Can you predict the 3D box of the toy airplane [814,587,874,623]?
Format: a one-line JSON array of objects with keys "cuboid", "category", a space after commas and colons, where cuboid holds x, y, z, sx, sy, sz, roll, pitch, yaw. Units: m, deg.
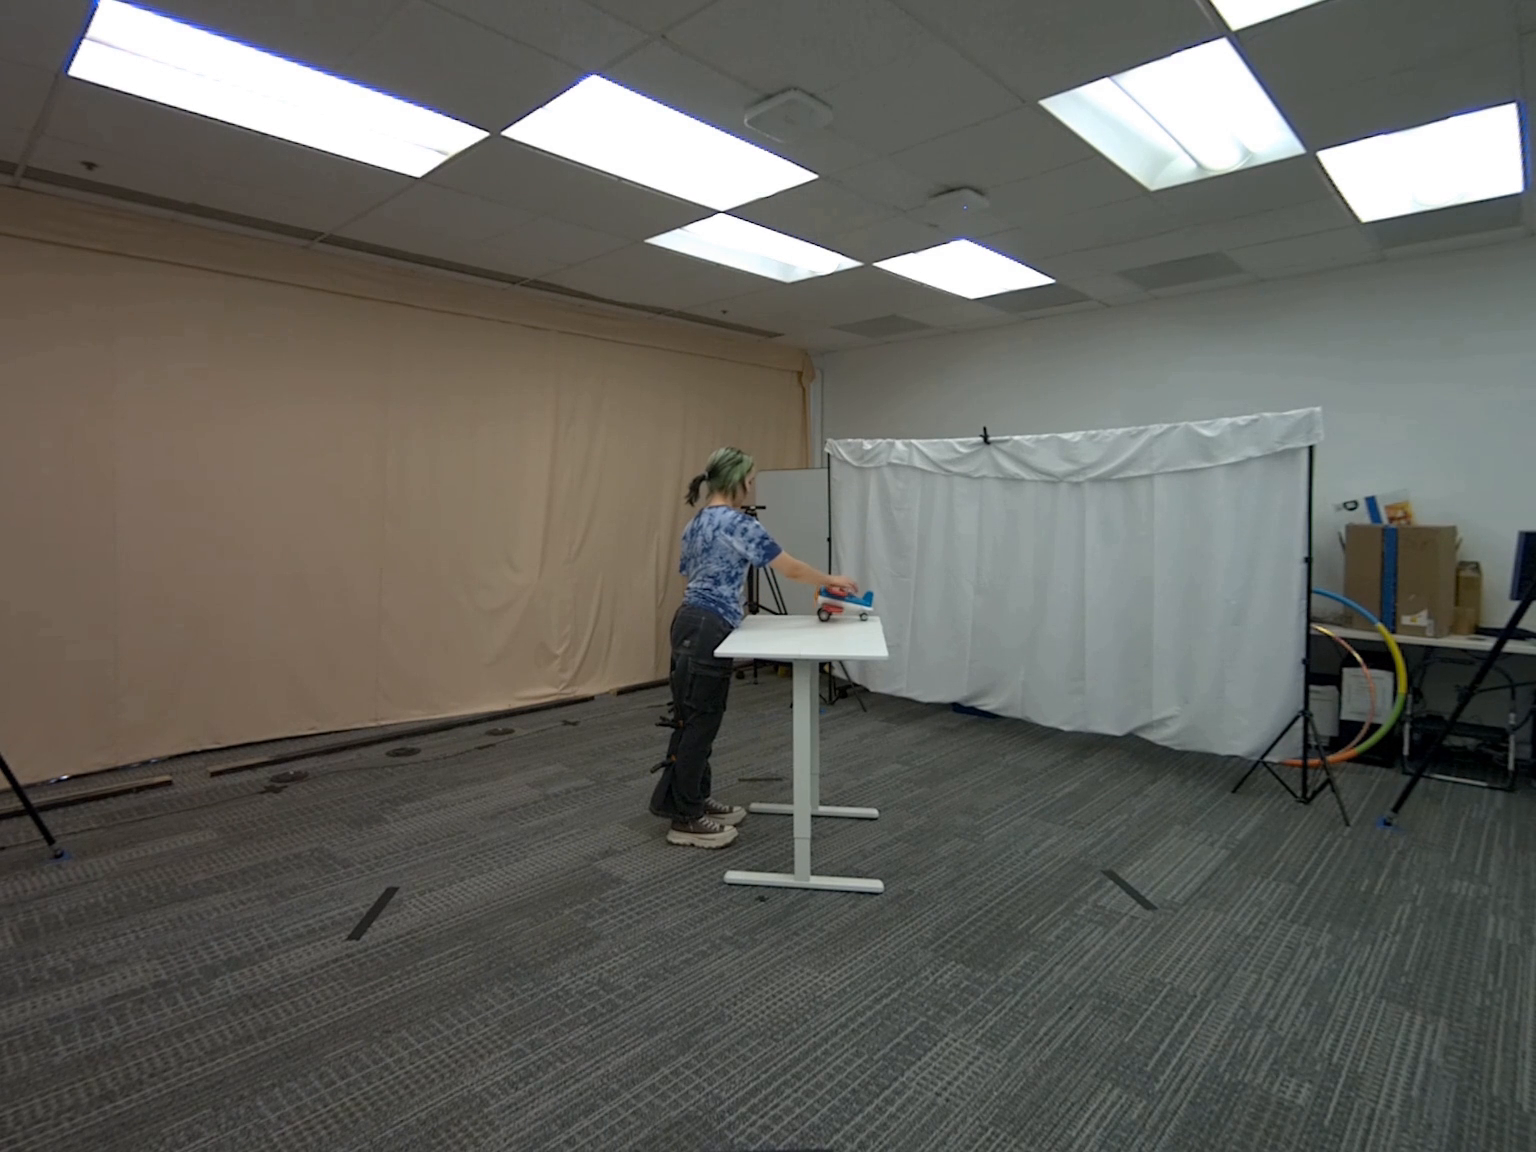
[{"cuboid": [0.327, 0.120, 3.736, 0.253, 0.156, 0.258, -3, 5, -26], "category": "toy airplane"}]
